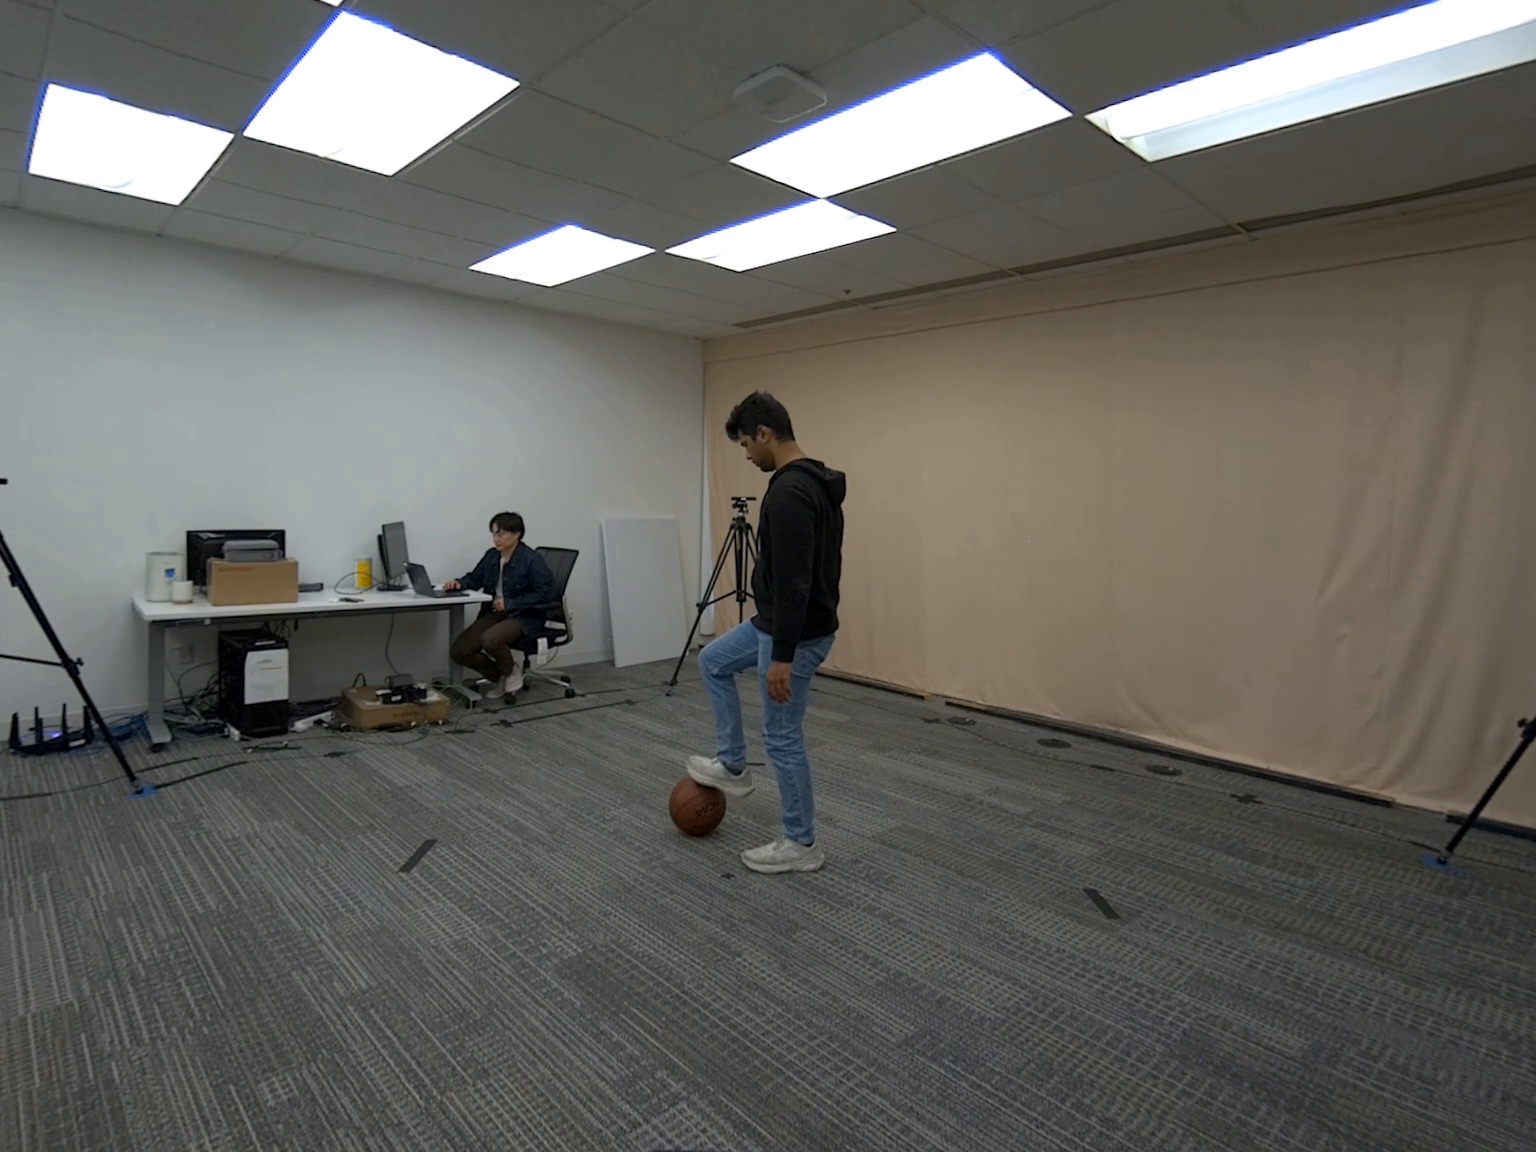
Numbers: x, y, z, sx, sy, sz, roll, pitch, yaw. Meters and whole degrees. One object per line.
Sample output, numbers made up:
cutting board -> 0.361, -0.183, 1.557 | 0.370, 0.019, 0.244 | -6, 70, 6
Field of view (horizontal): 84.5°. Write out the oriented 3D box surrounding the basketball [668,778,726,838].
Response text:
basketball -> -0.302, 0.946, 3.493 | 0.236, 0.235, 0.237 | 1, 4, -1
